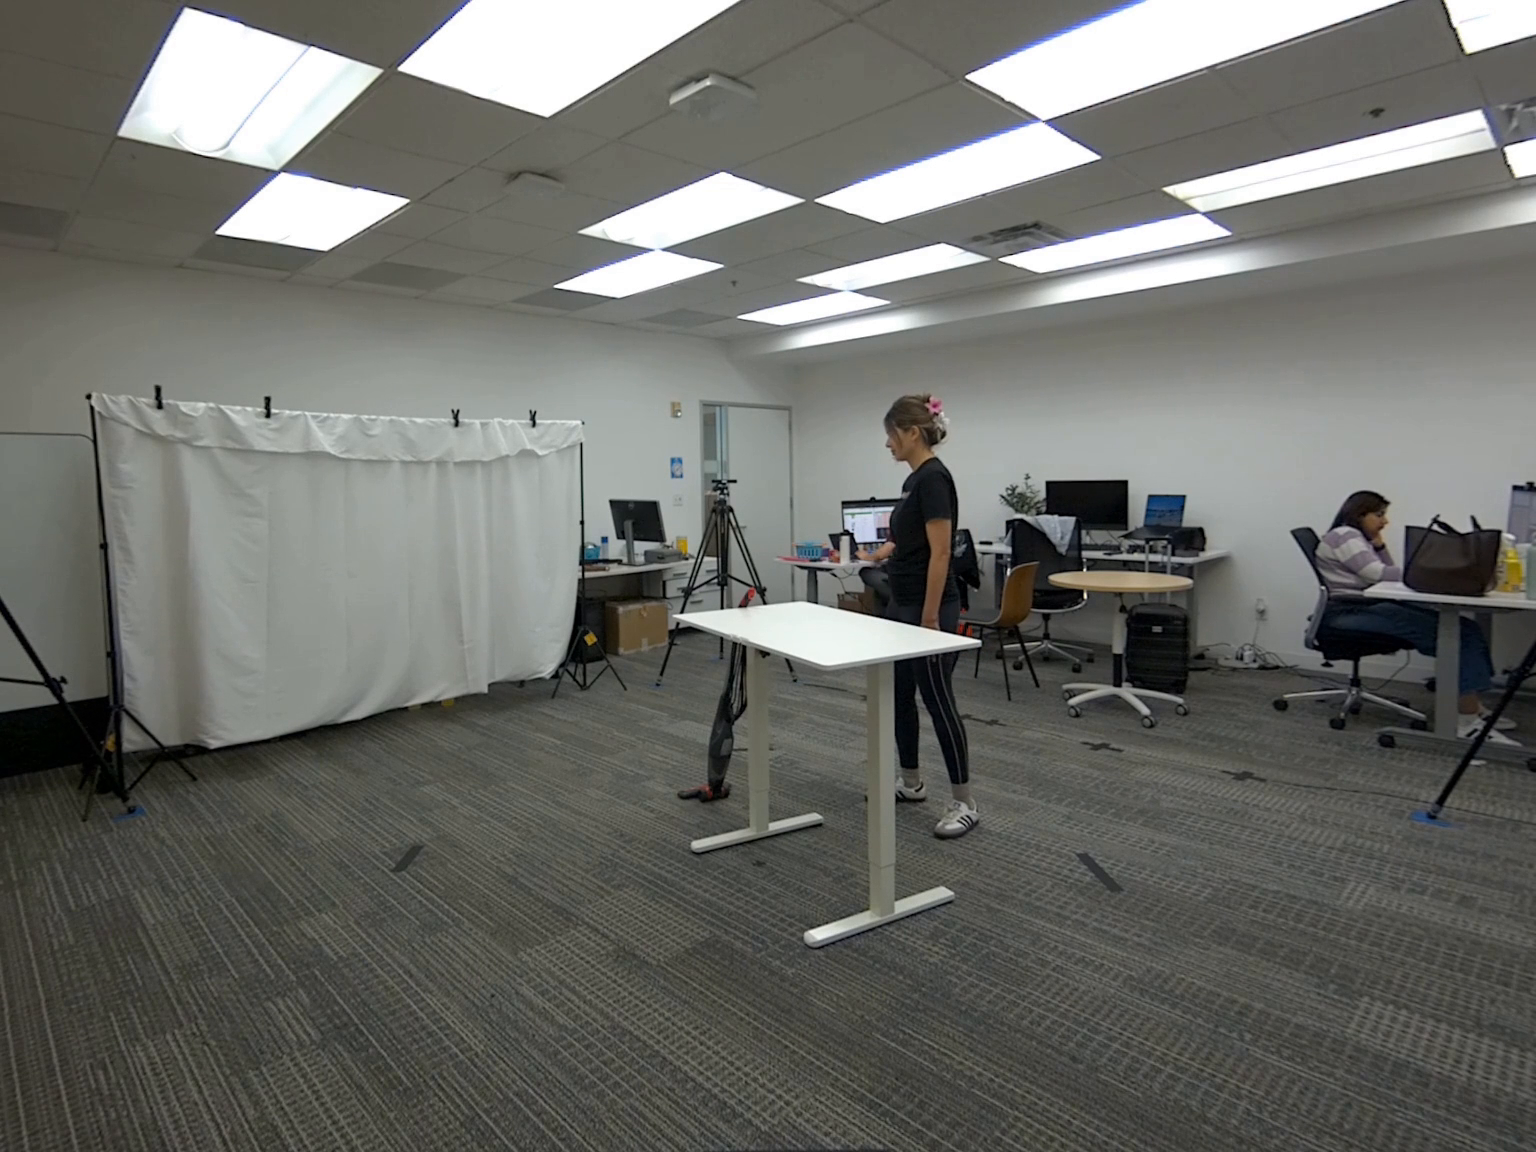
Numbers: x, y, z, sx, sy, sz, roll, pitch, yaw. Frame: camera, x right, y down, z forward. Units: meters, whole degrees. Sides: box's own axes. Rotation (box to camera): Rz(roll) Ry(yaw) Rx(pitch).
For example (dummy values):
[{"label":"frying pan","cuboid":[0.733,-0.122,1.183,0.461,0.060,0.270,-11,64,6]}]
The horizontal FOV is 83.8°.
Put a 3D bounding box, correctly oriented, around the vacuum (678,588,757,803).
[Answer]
[{"label":"vacuum","cuboid":[-0.163,0.517,3.582,0.246,1.033,0.150,-9,32,-39]}]
